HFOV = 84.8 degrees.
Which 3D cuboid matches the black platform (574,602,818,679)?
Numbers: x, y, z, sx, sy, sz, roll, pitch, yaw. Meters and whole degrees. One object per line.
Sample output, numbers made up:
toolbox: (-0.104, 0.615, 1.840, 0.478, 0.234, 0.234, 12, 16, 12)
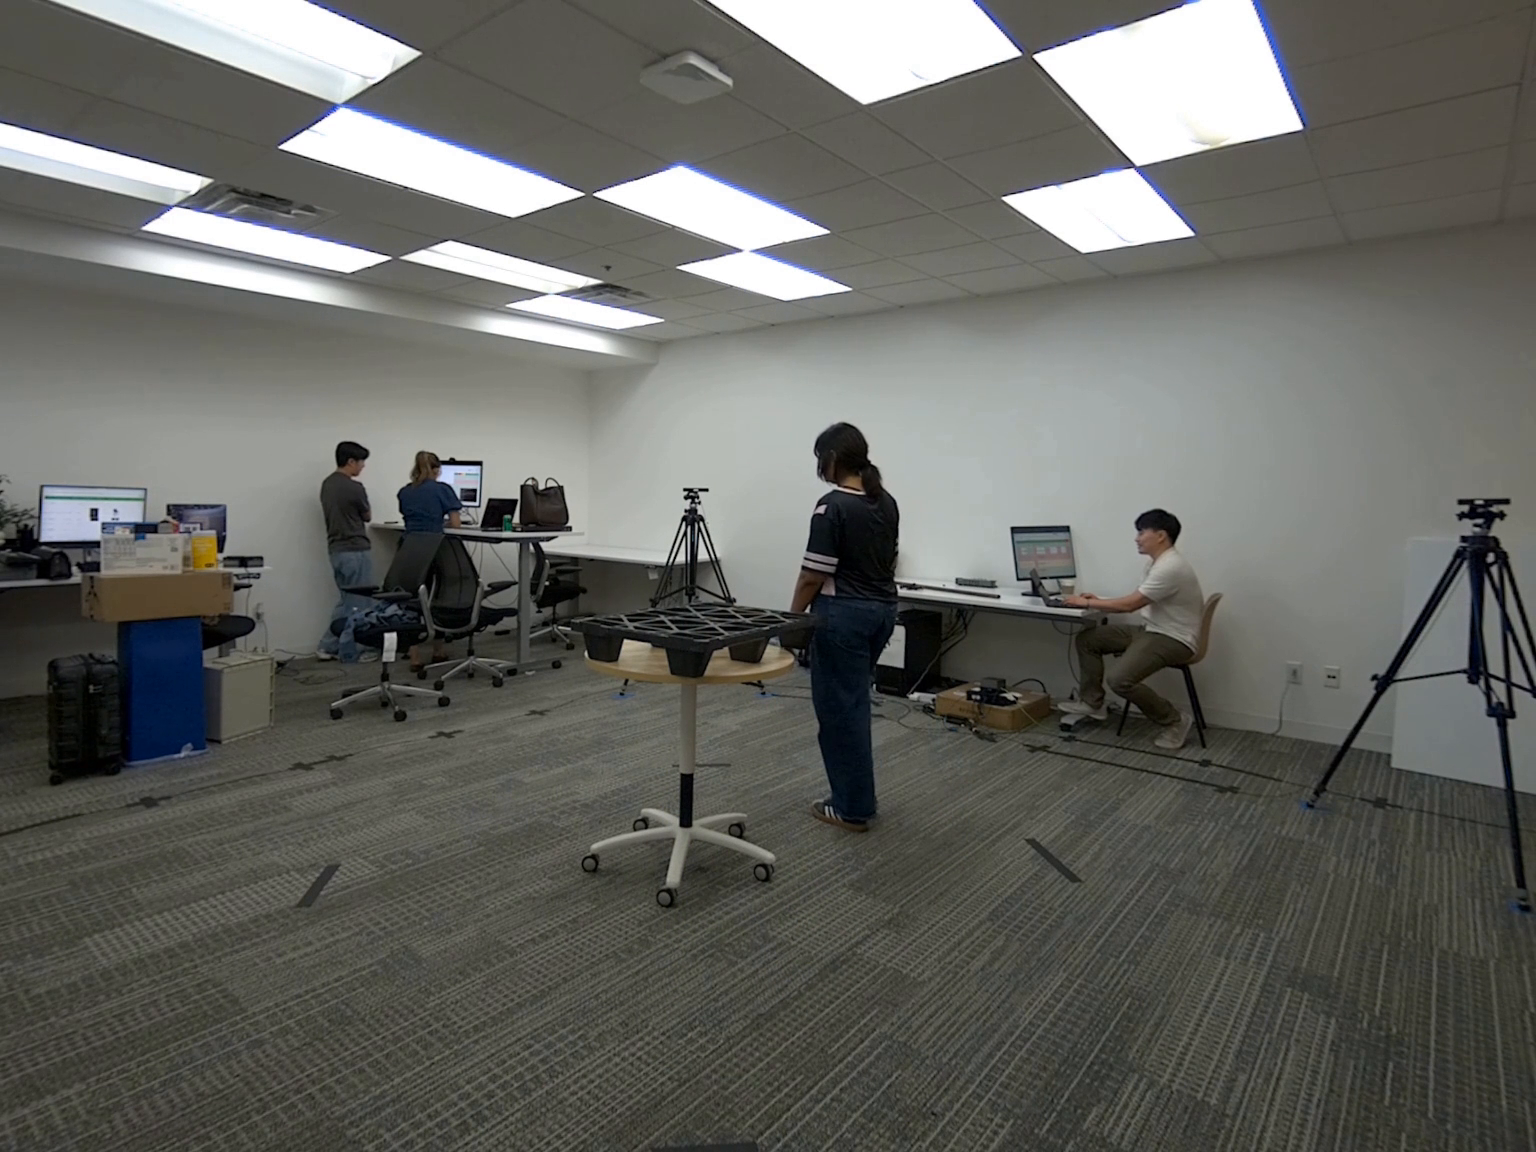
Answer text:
black platform: (-0.237, 0.223, 3.130, 0.625, 0.143, 0.783, 6, 7, 34)
